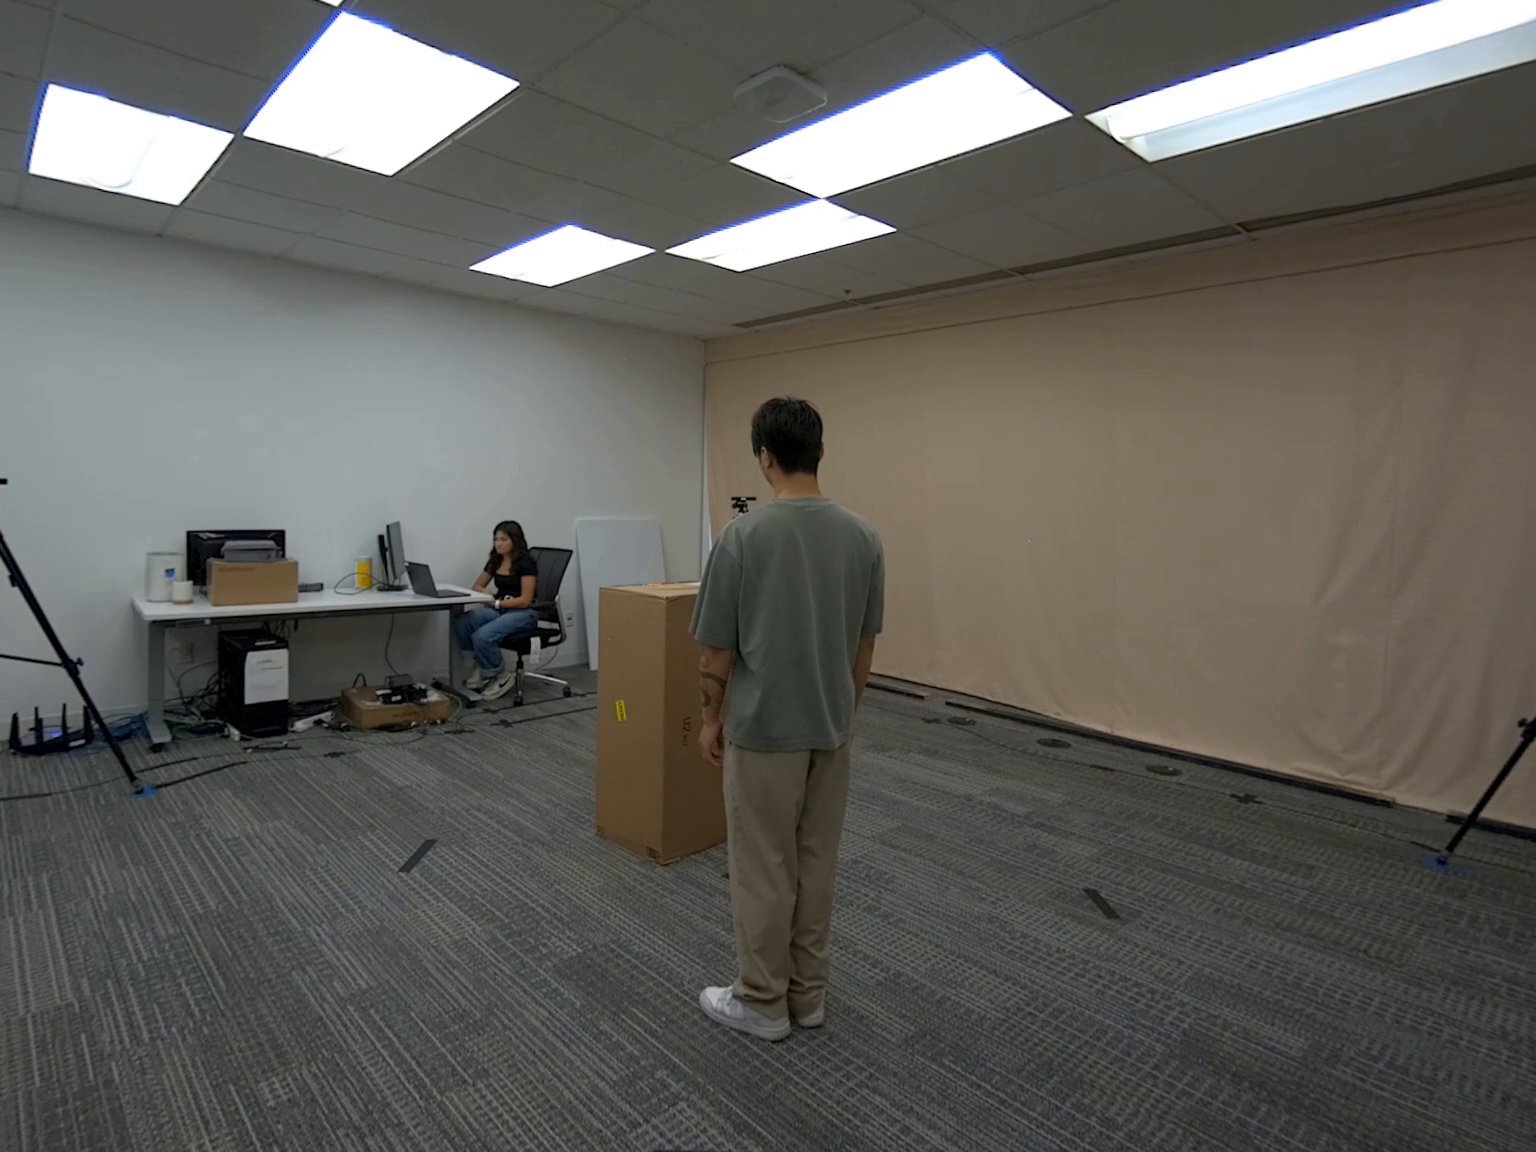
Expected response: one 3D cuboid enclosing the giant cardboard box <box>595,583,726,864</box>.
[{"bbox_3d":[-0.366,0.559,3.504,0.437,1.023,0.564,4,4,43],"label":"giant cardboard box"}]
